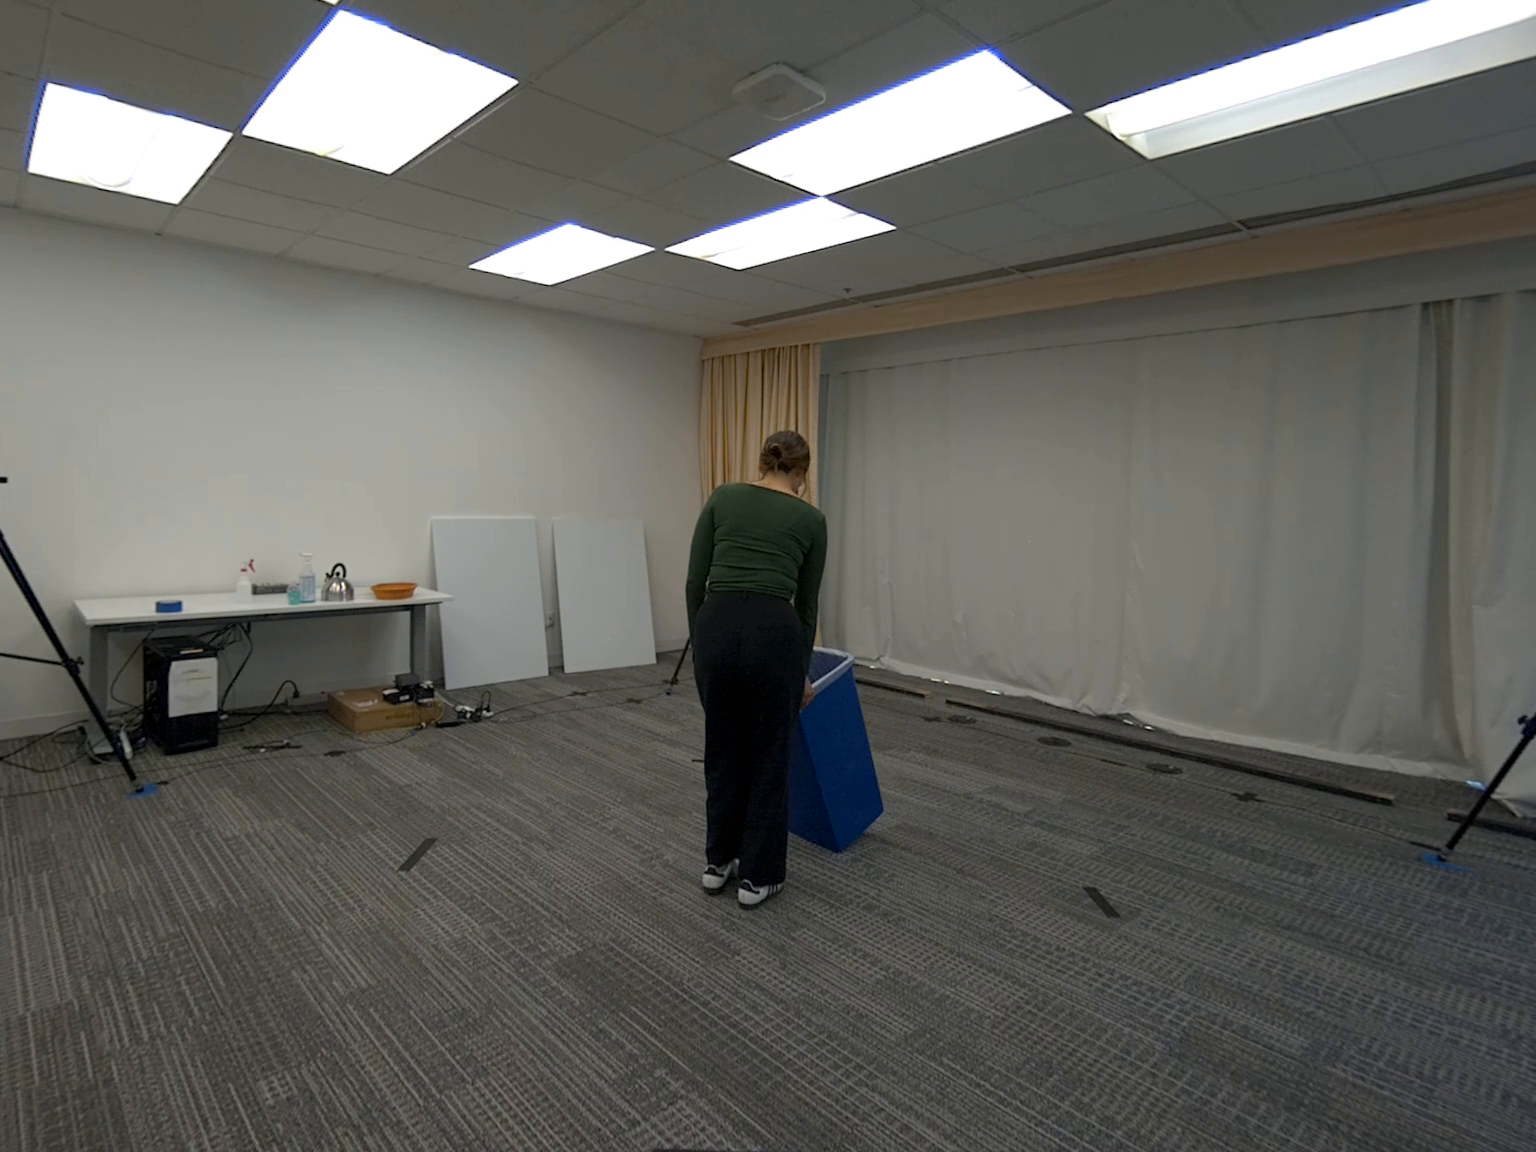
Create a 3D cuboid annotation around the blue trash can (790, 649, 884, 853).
[{"bbox_3d":[0.185,0.693,3.409,0.370,0.703,0.387,-28,20,-35],"label":"blue trash can"}]
